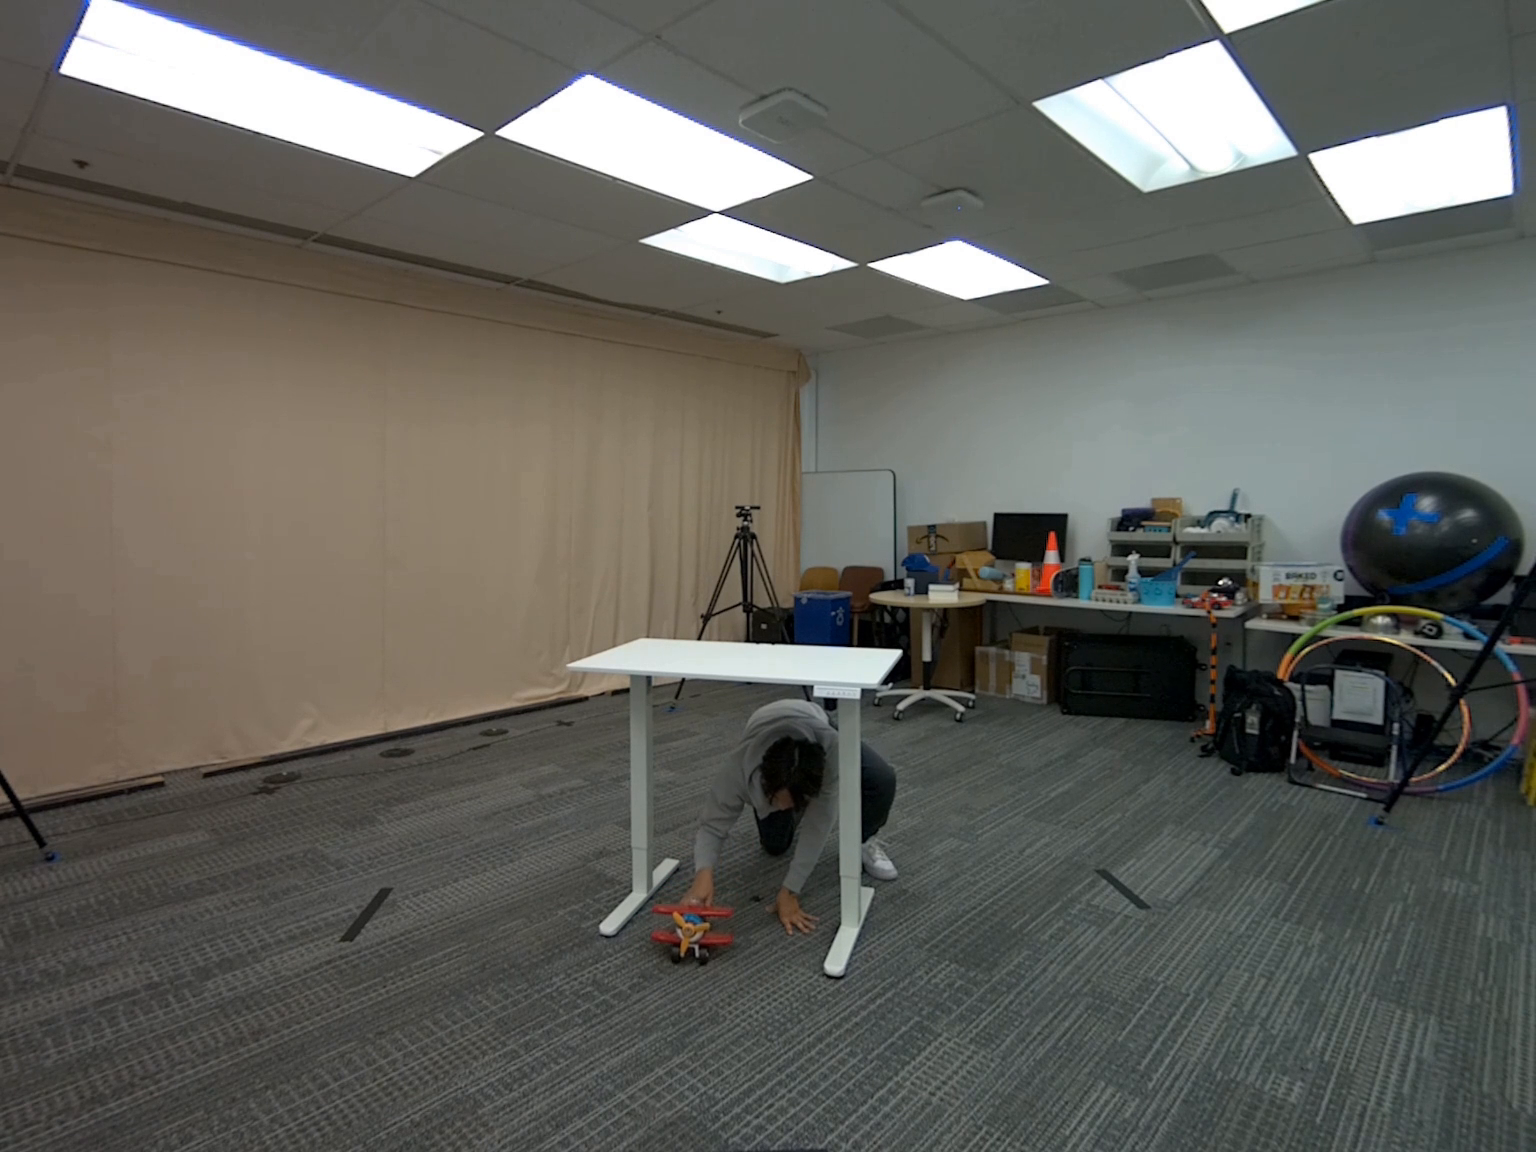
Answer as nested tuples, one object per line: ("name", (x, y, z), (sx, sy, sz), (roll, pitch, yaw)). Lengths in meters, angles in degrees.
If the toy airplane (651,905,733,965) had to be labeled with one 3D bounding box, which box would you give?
("toy airplane", (-0.252, 1.098, 2.648), (0.245, 0.156, 0.266), (-1, 5, -25))
